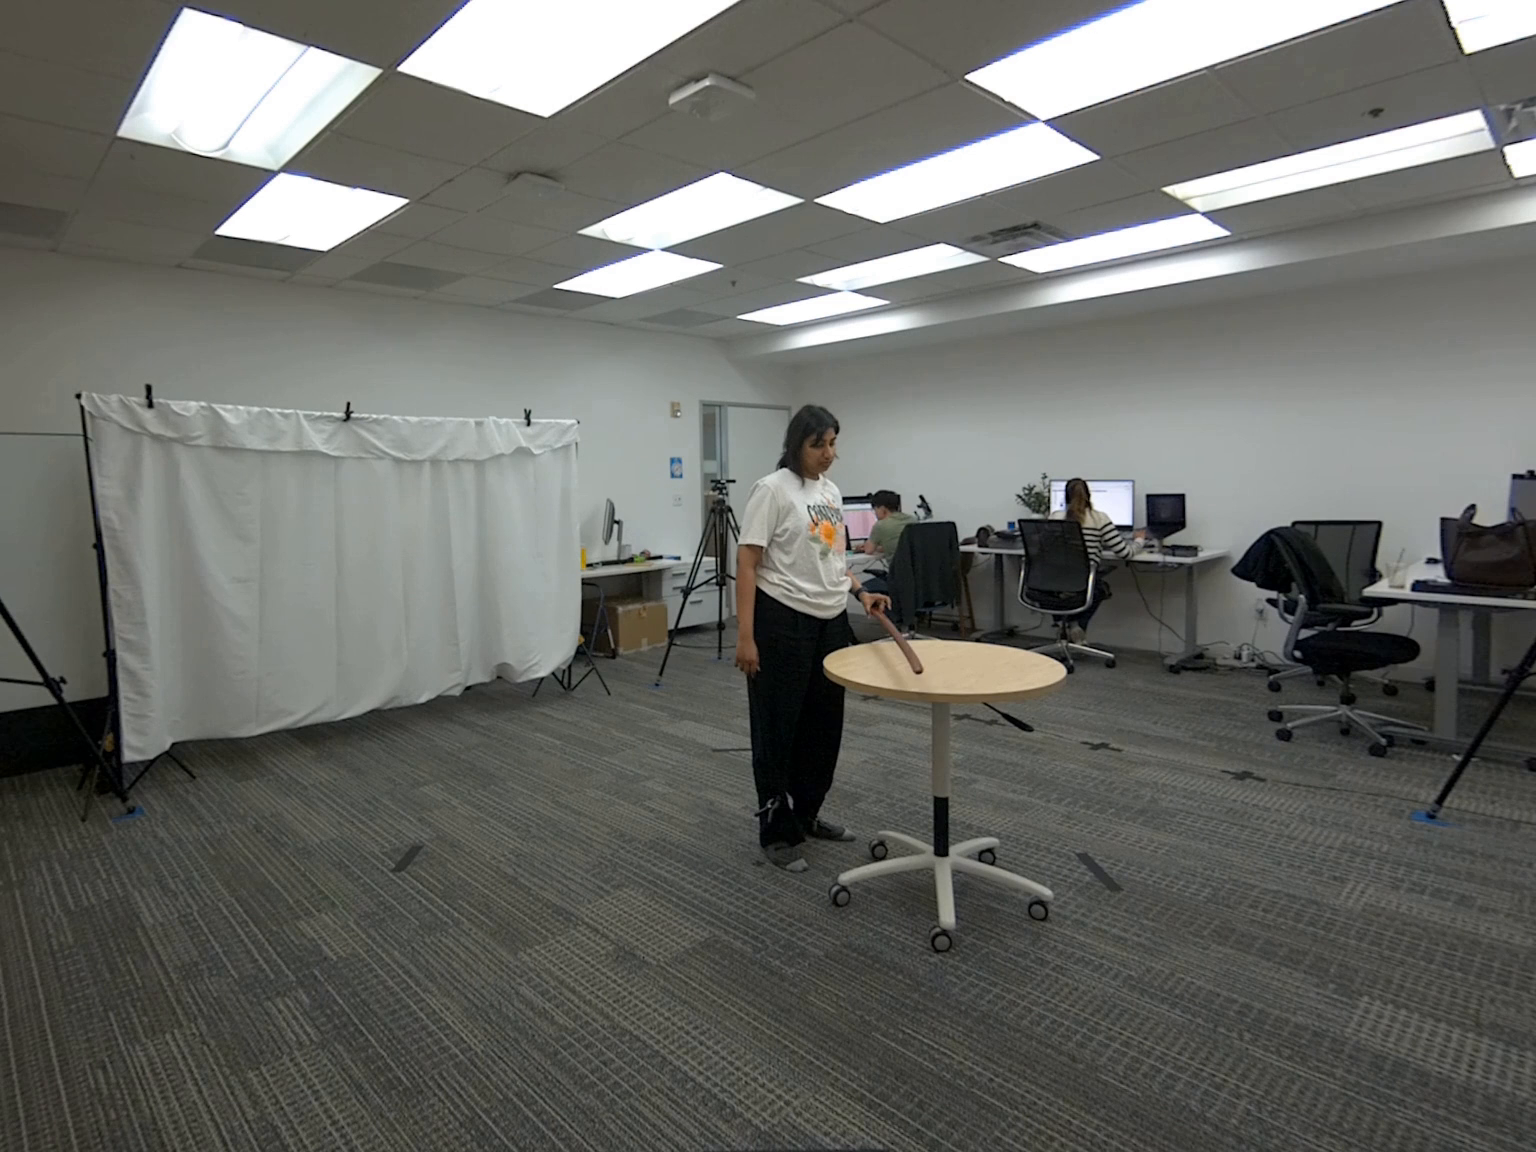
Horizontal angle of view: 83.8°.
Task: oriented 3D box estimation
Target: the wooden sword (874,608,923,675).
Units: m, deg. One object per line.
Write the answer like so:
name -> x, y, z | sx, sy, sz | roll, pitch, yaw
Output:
wooden sword -> 0.458, 0.190, 2.835 | 0.051, 0.024, 1.029 | -37, 7, 7
